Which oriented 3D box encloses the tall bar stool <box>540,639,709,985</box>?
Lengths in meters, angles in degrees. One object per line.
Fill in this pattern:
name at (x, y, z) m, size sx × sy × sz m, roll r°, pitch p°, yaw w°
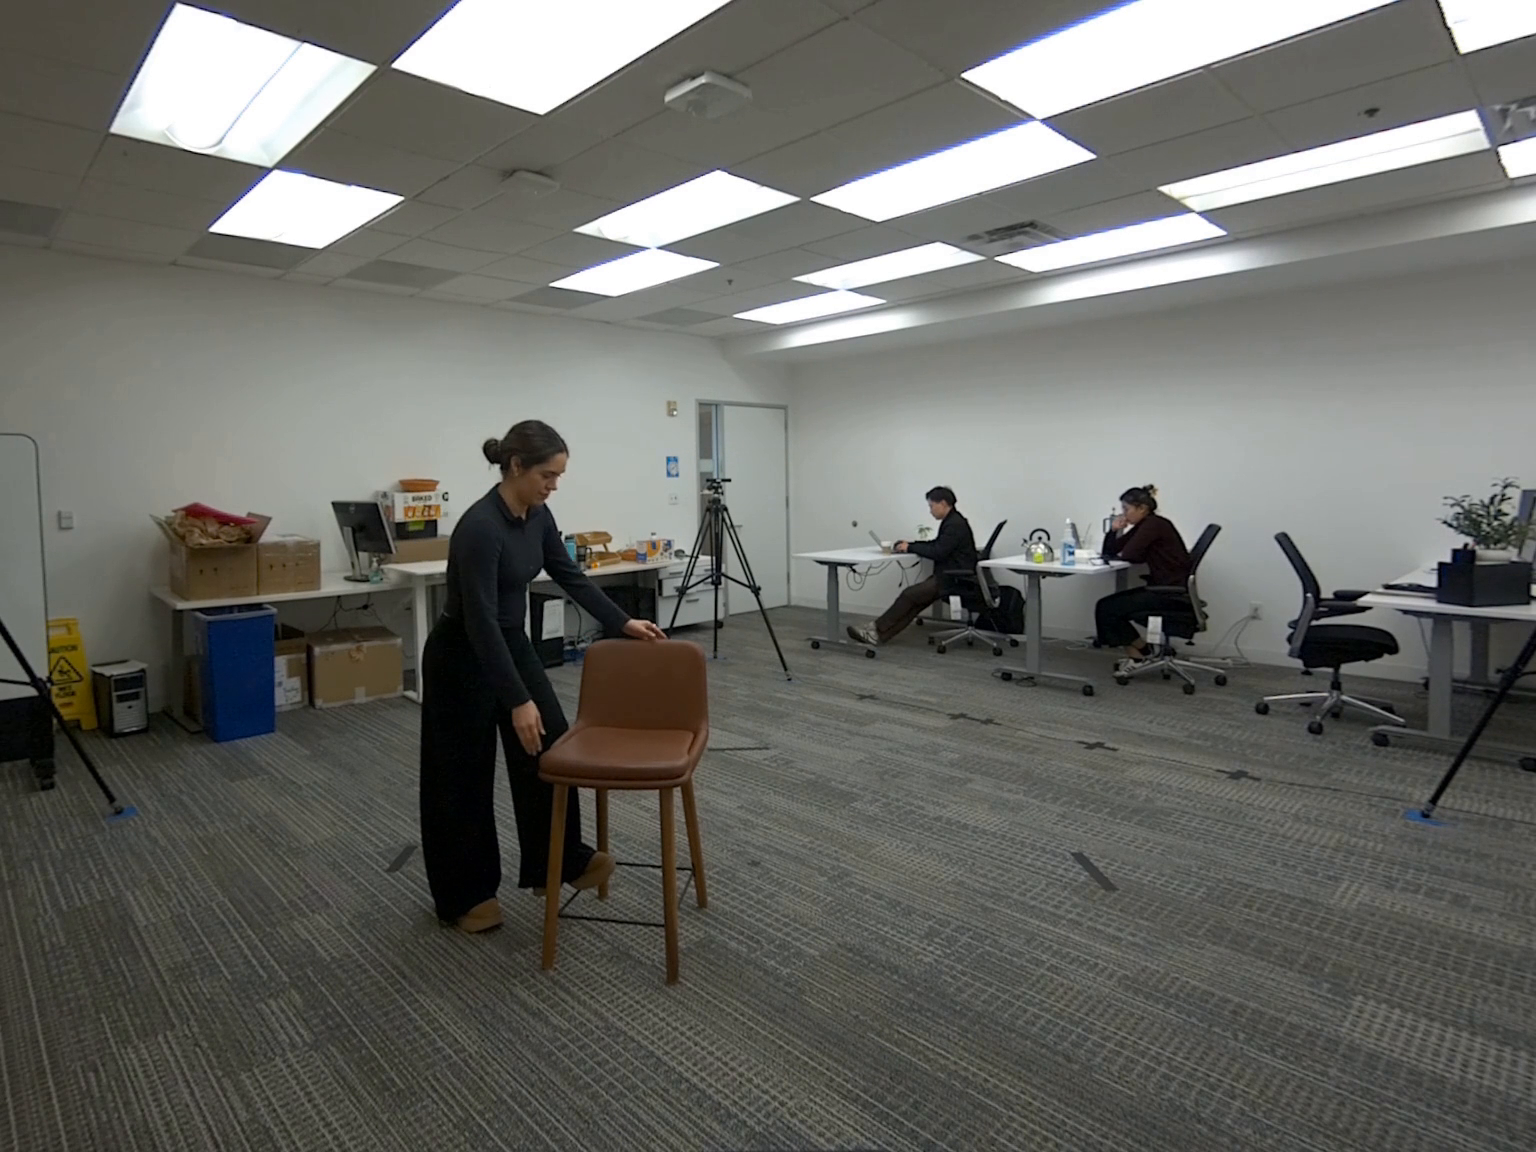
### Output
tall bar stool at (-0.421, 0.672, 2.610) m, size 0.462 × 0.887 × 0.463 m, roll 0°, pitch 3°, yaw 11°
